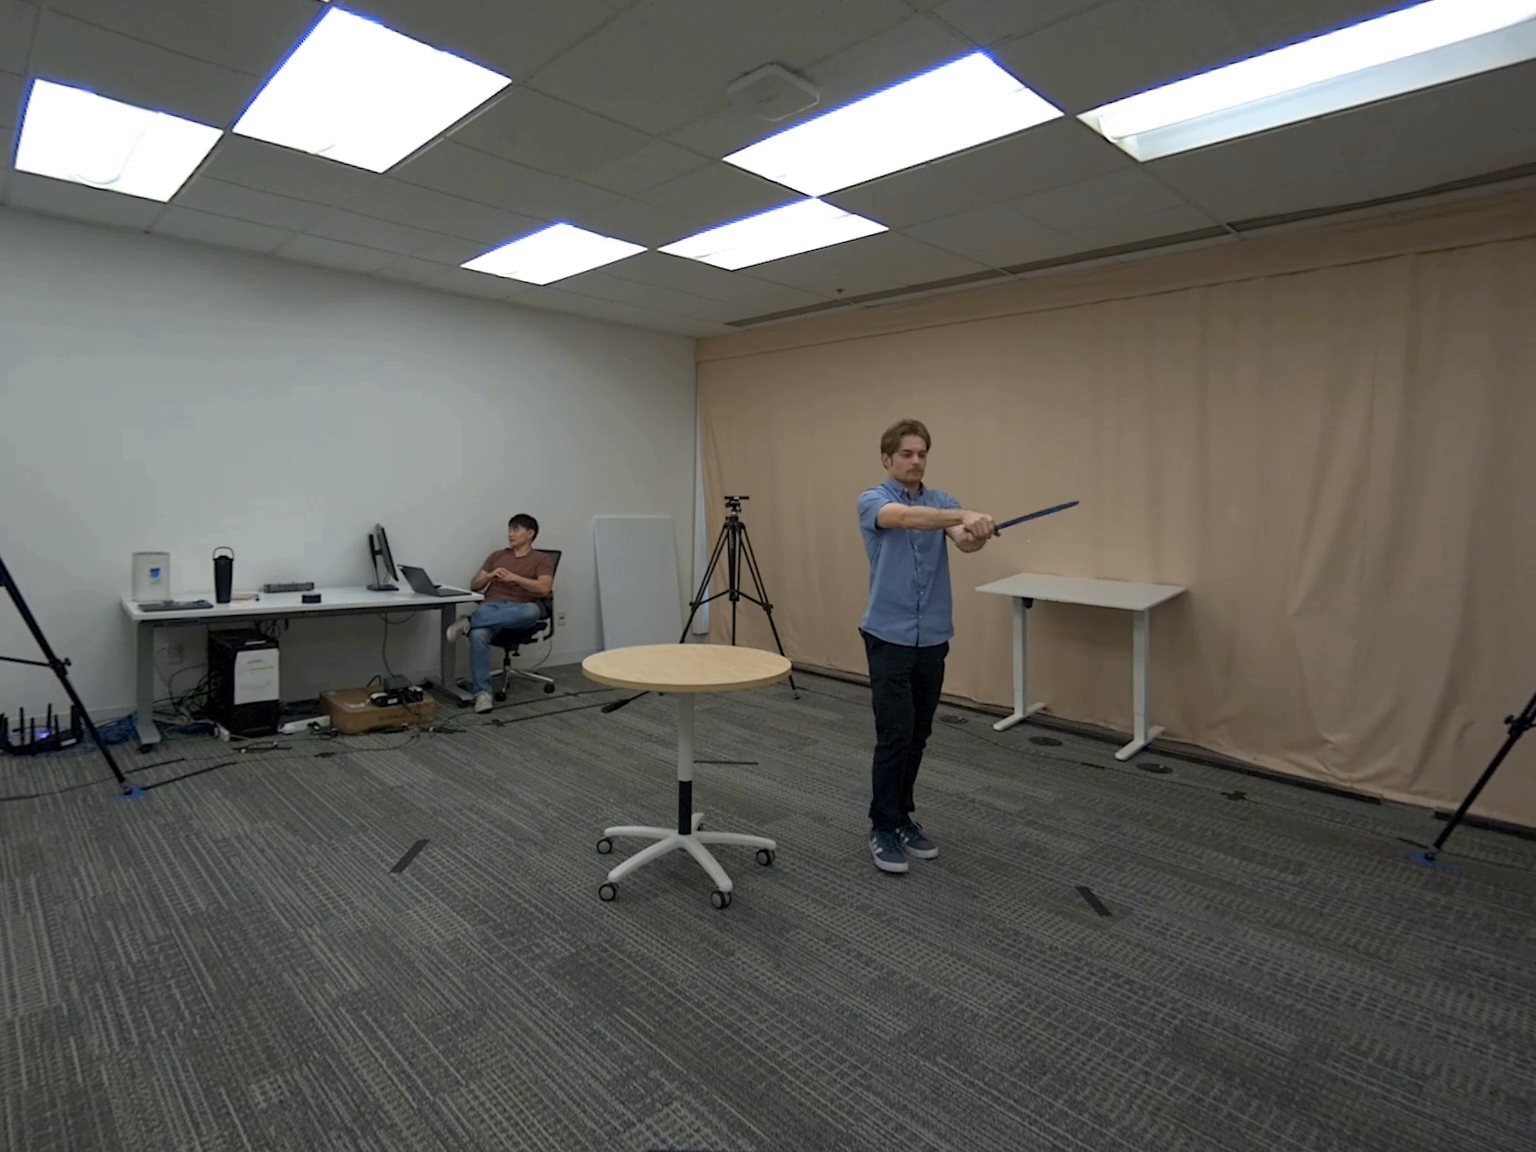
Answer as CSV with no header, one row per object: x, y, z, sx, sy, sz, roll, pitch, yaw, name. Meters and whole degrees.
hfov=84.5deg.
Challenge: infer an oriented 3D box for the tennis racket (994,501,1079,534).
0.774,-0.174,2.689,0.210,0.032,0.438,-17,-2,-32,tennis racket
